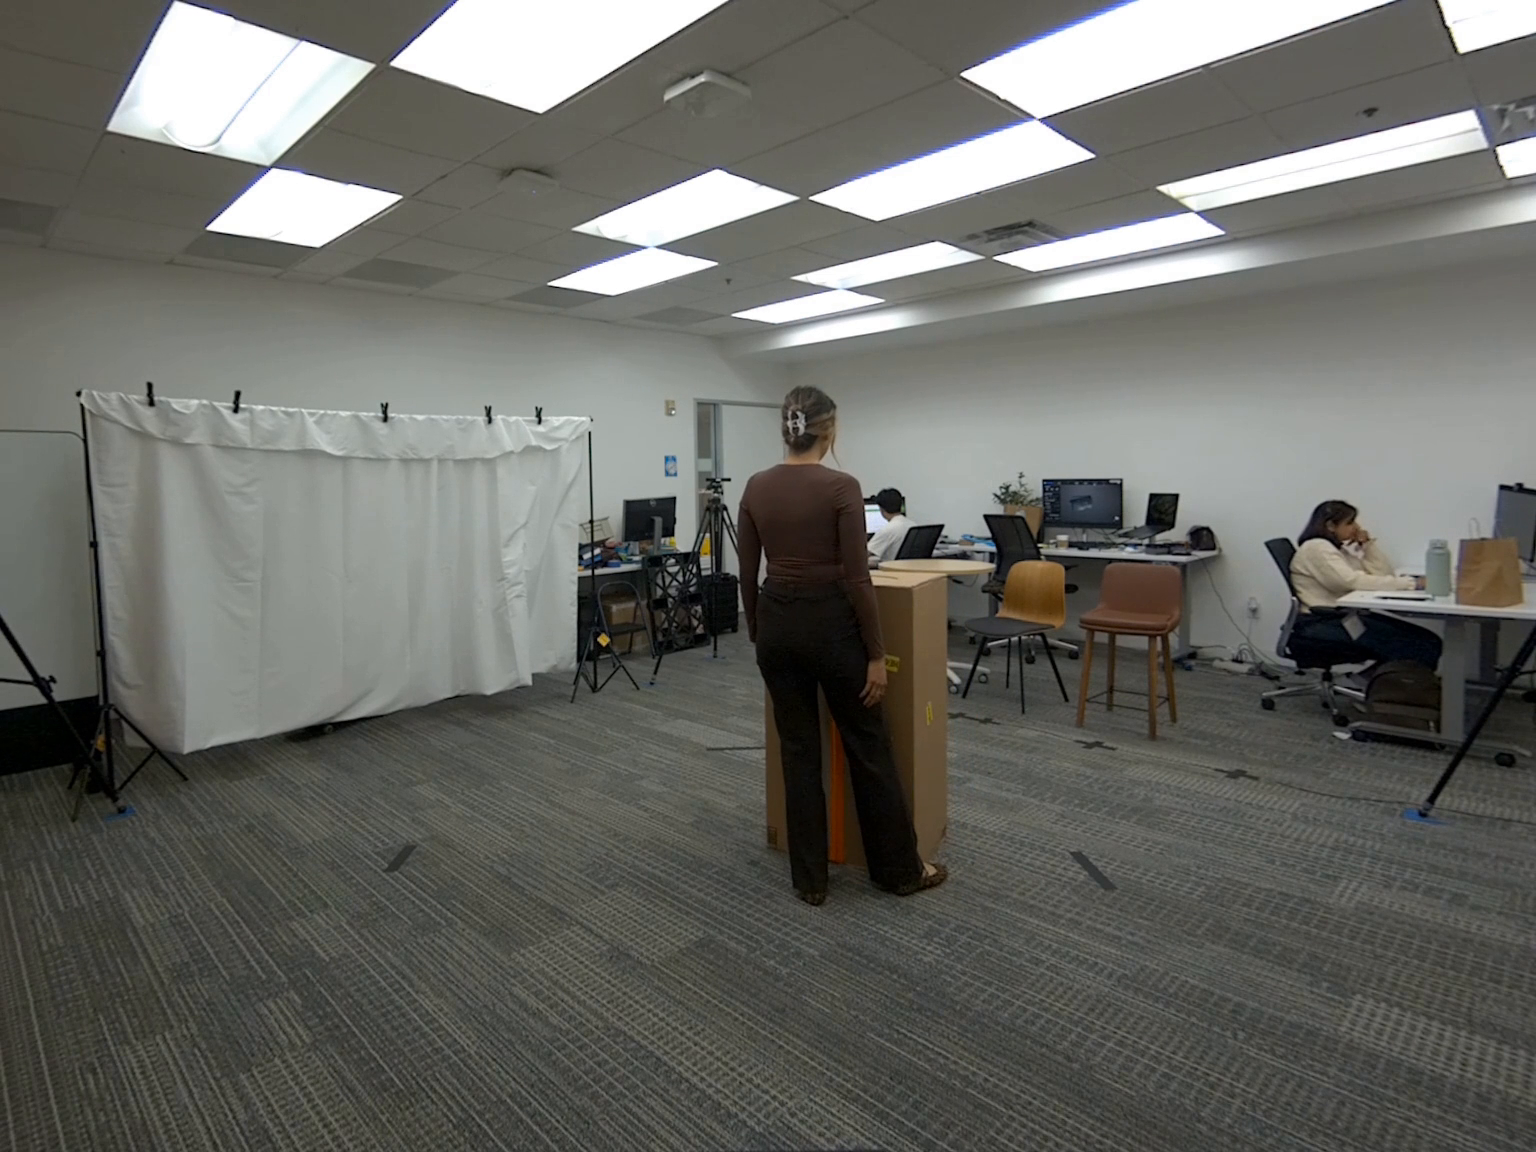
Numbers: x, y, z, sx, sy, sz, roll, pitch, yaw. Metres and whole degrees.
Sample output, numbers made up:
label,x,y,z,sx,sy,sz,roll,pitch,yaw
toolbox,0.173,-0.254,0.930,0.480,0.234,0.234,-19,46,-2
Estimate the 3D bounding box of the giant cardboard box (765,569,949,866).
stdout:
label,x,y,z,sx,sy,sz,roll,pitch,yaw
giant cardboard box,0.336,0.508,3.239,0.599,1.023,0.437,2,5,30
